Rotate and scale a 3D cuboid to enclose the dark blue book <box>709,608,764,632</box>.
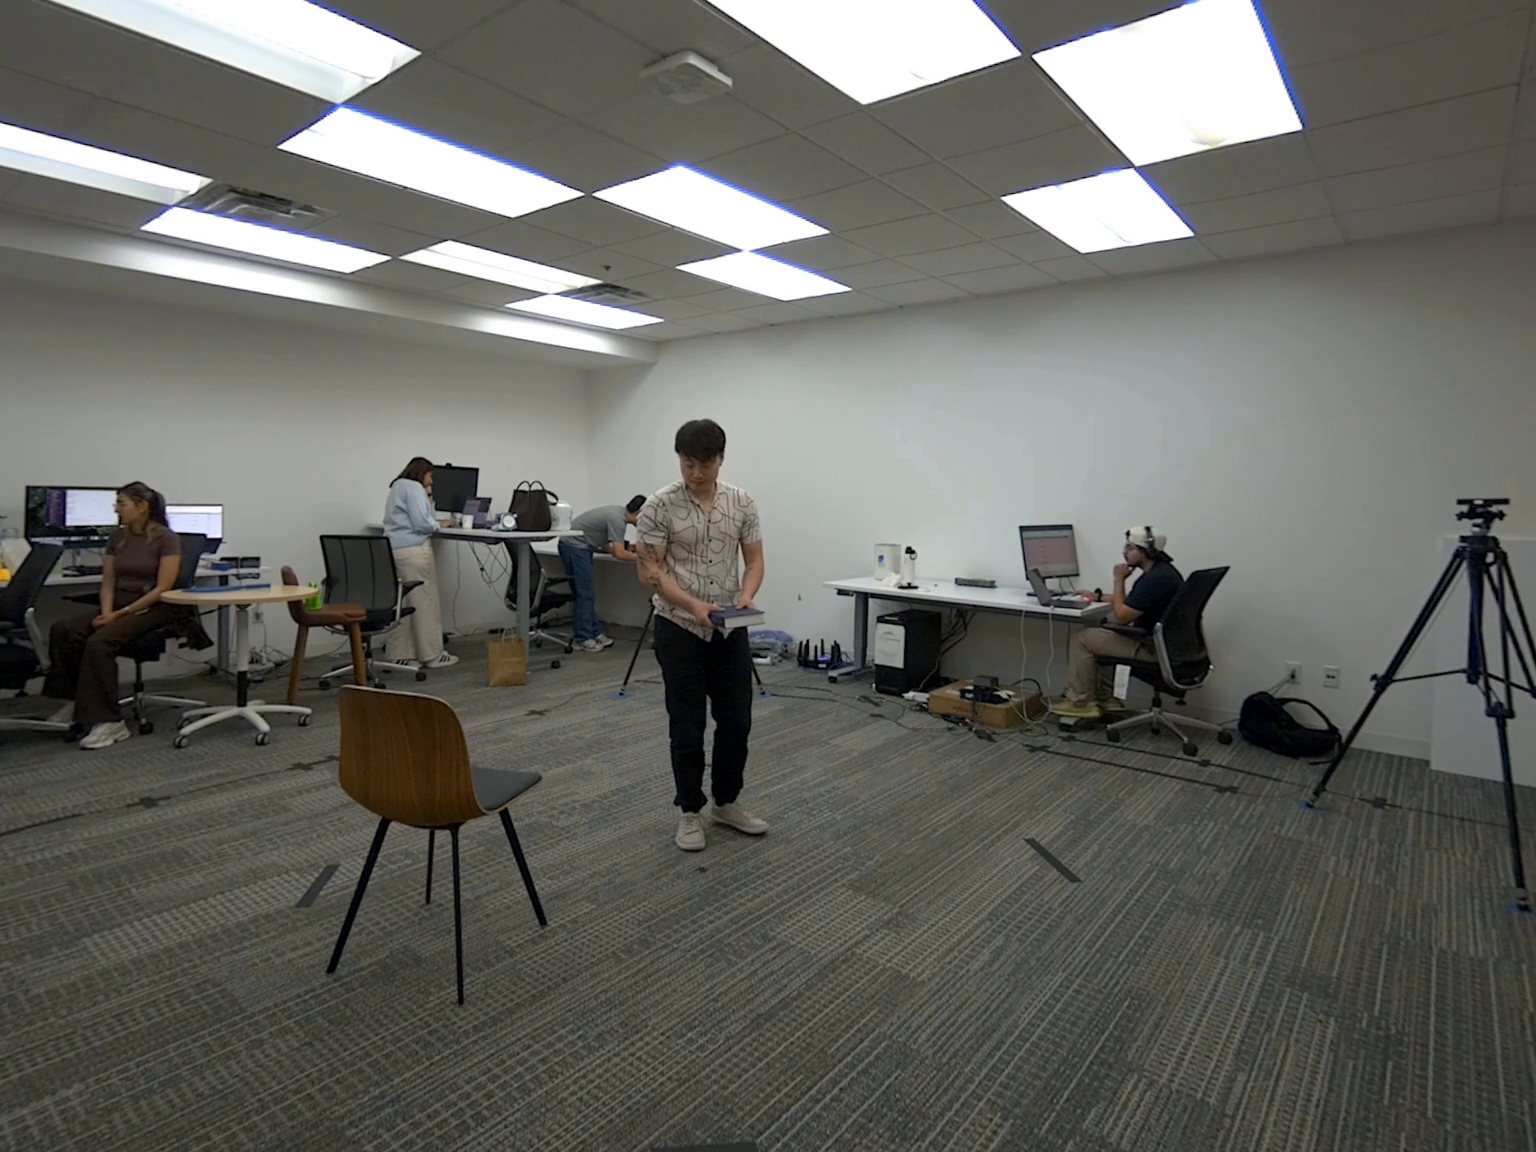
[{"bbox_3d":[-0.143,0.152,3.157,0.161,0.045,0.250,-7,5,-19],"label":"dark blue book"}]
